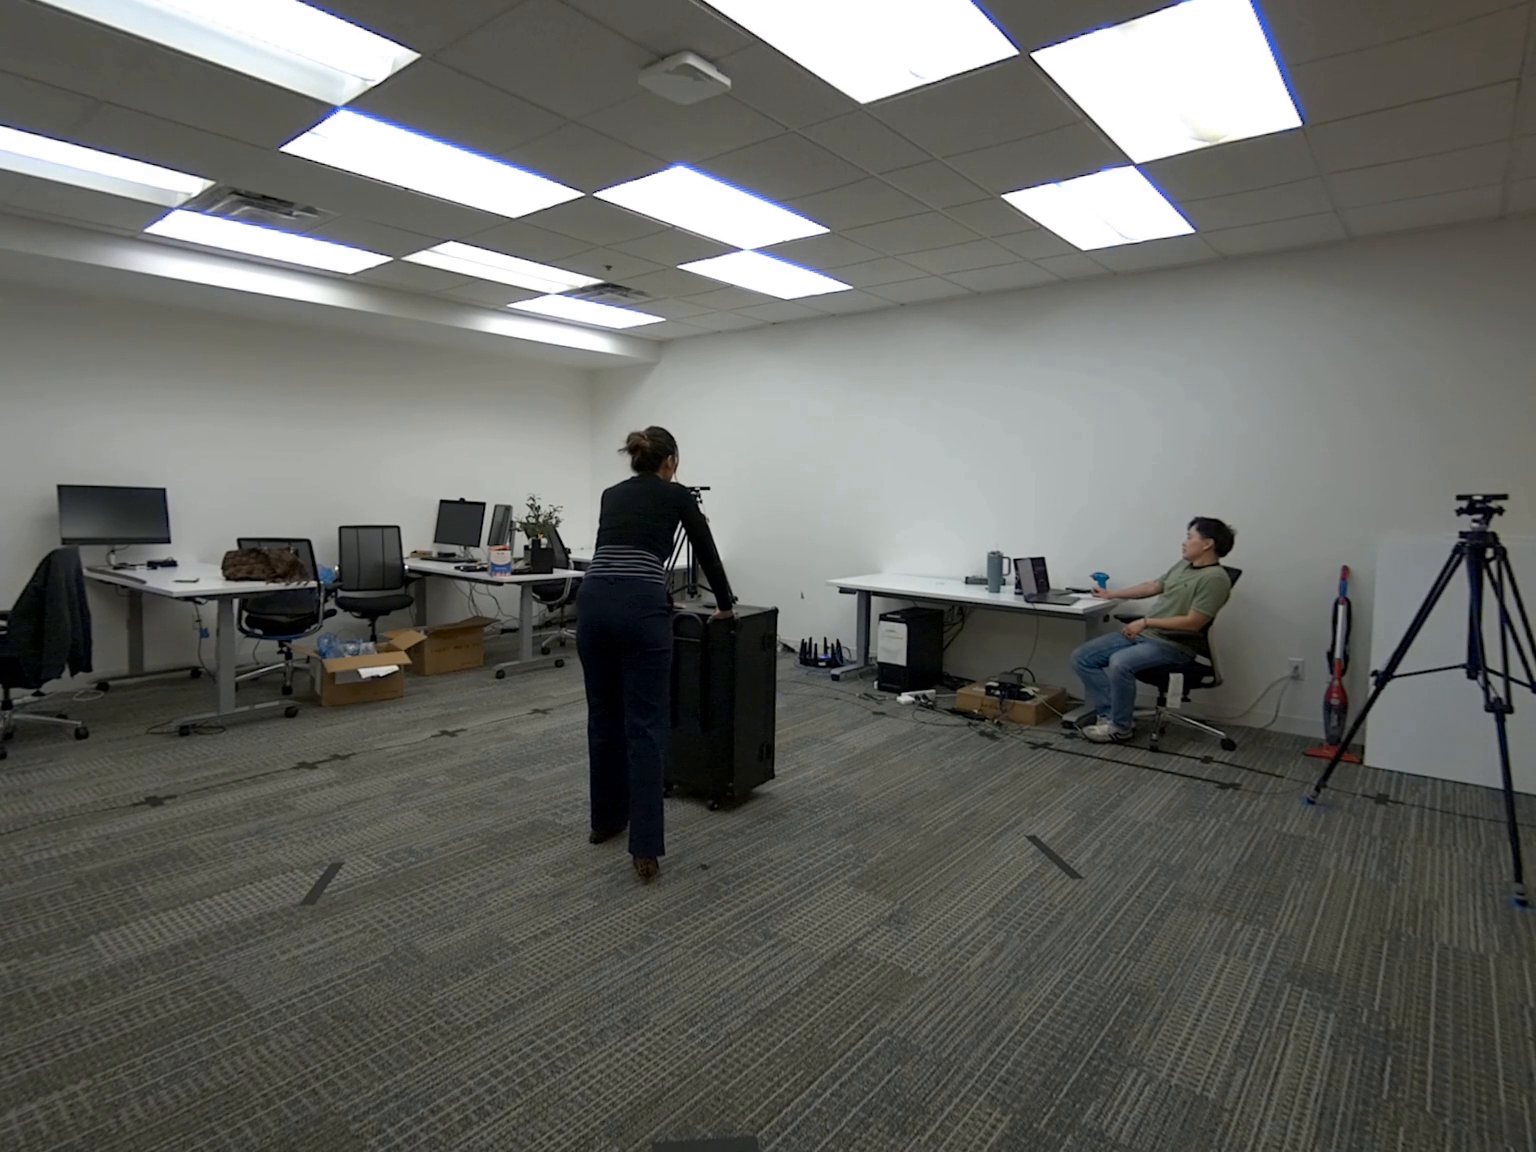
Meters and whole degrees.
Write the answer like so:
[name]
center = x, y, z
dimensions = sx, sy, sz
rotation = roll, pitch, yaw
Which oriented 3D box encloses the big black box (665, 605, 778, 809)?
[big black box]
center = -0.265, 0.562, 3.849
dimensions = 0.537, 0.859, 0.385
rotation = 3, 4, 33
